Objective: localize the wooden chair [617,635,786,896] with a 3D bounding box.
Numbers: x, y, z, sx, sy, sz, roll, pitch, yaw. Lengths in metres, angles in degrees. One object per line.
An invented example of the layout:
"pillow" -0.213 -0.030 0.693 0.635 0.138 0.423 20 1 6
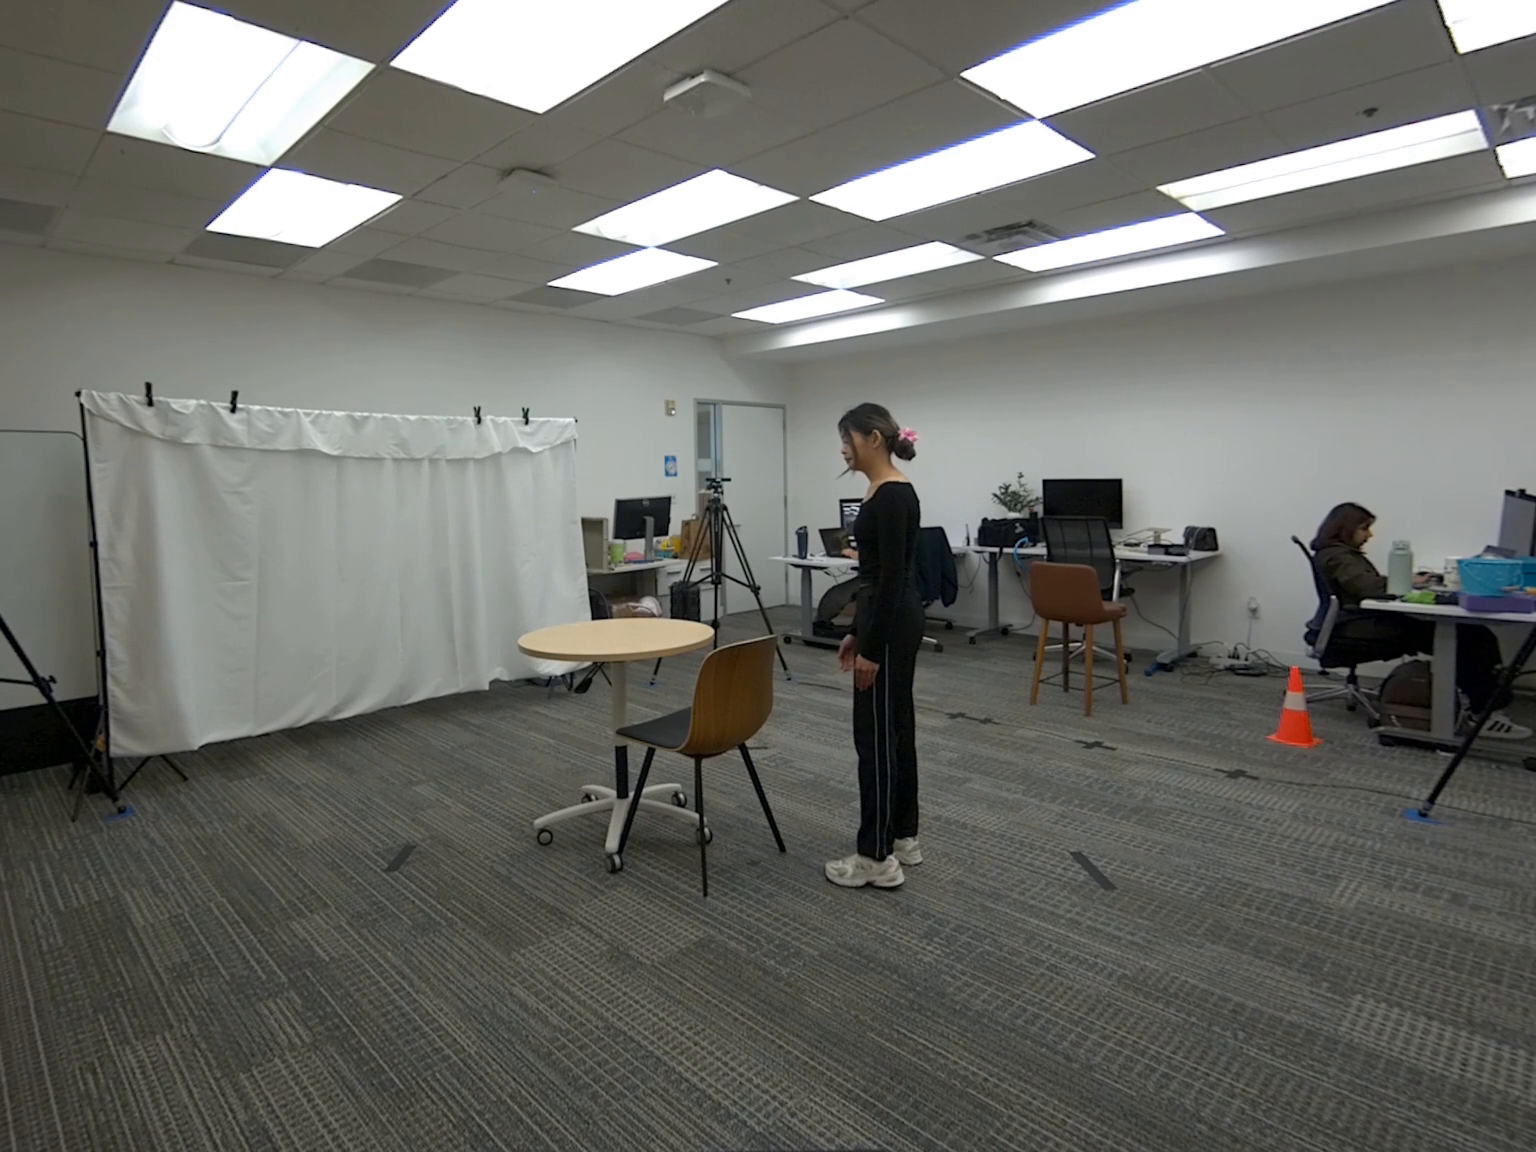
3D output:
"wooden chair" -0.258 0.612 3.140 0.540 0.872 0.466 9 10 40
